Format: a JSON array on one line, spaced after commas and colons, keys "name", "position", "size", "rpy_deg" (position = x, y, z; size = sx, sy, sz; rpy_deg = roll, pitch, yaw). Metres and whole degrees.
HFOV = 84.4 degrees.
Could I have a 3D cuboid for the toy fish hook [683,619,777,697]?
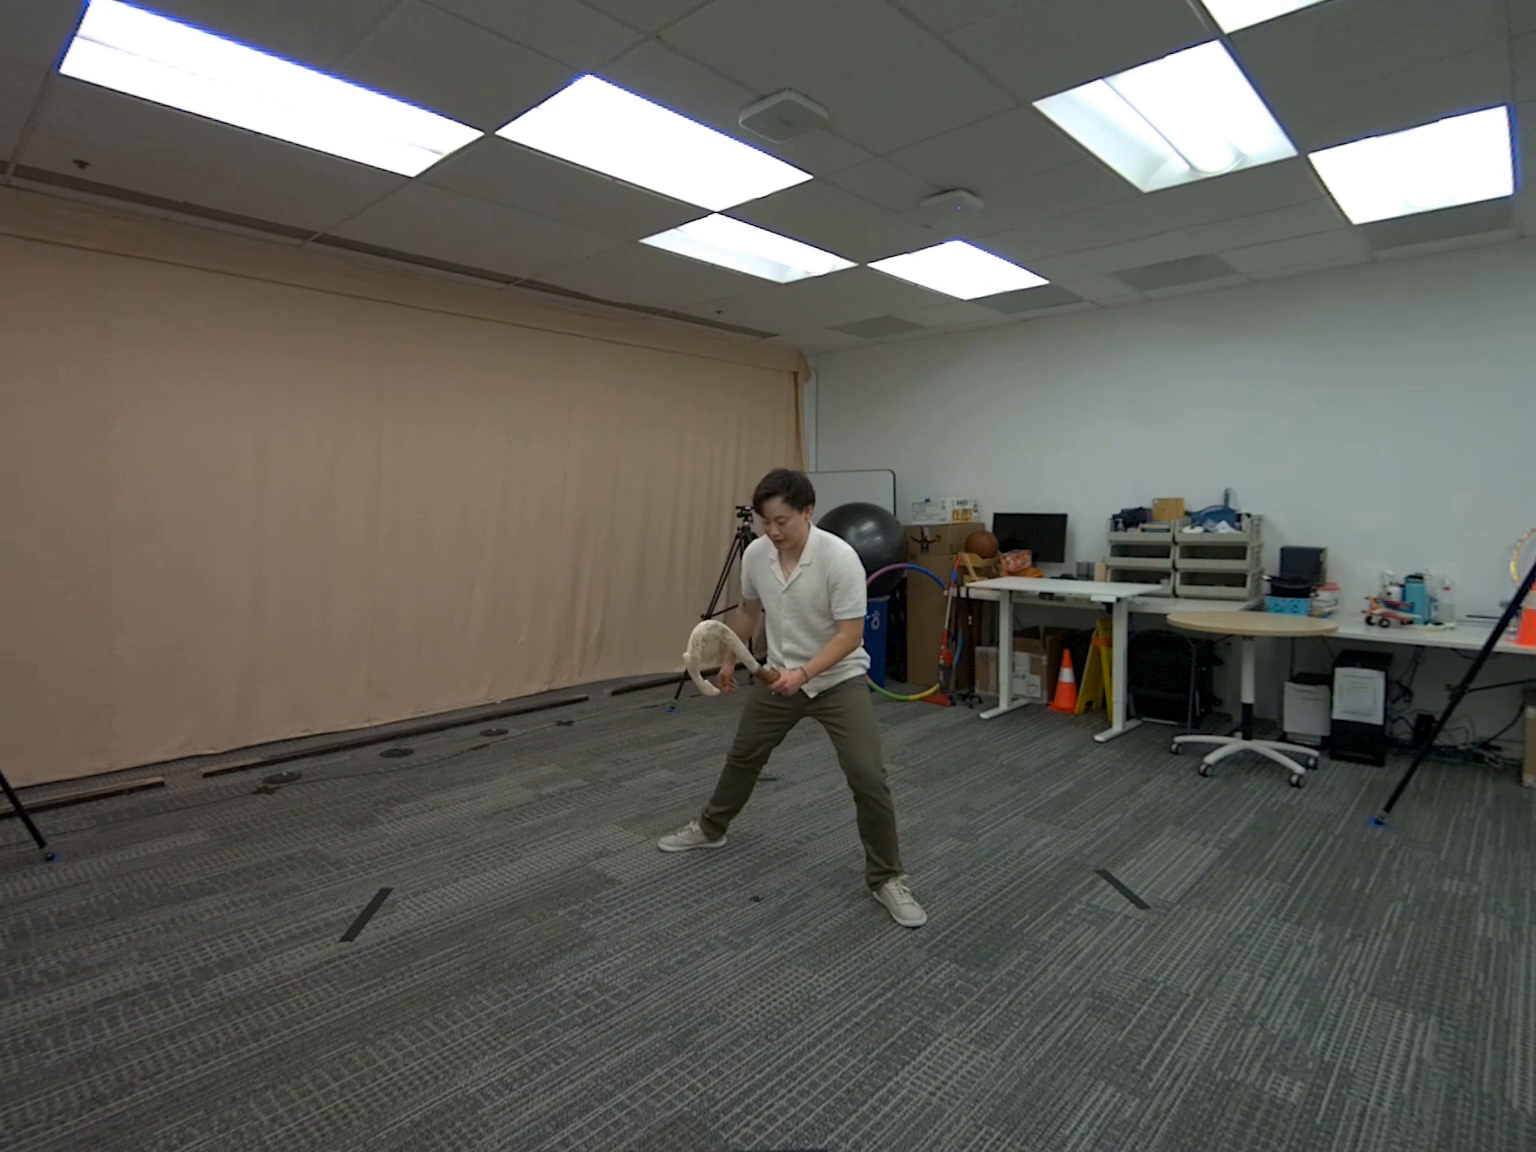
[{"name": "toy fish hook", "position": [-0.097, 0.326, 2.740], "size": [0.050, 0.225, 0.489], "rpy_deg": [7, -24, 48]}]
